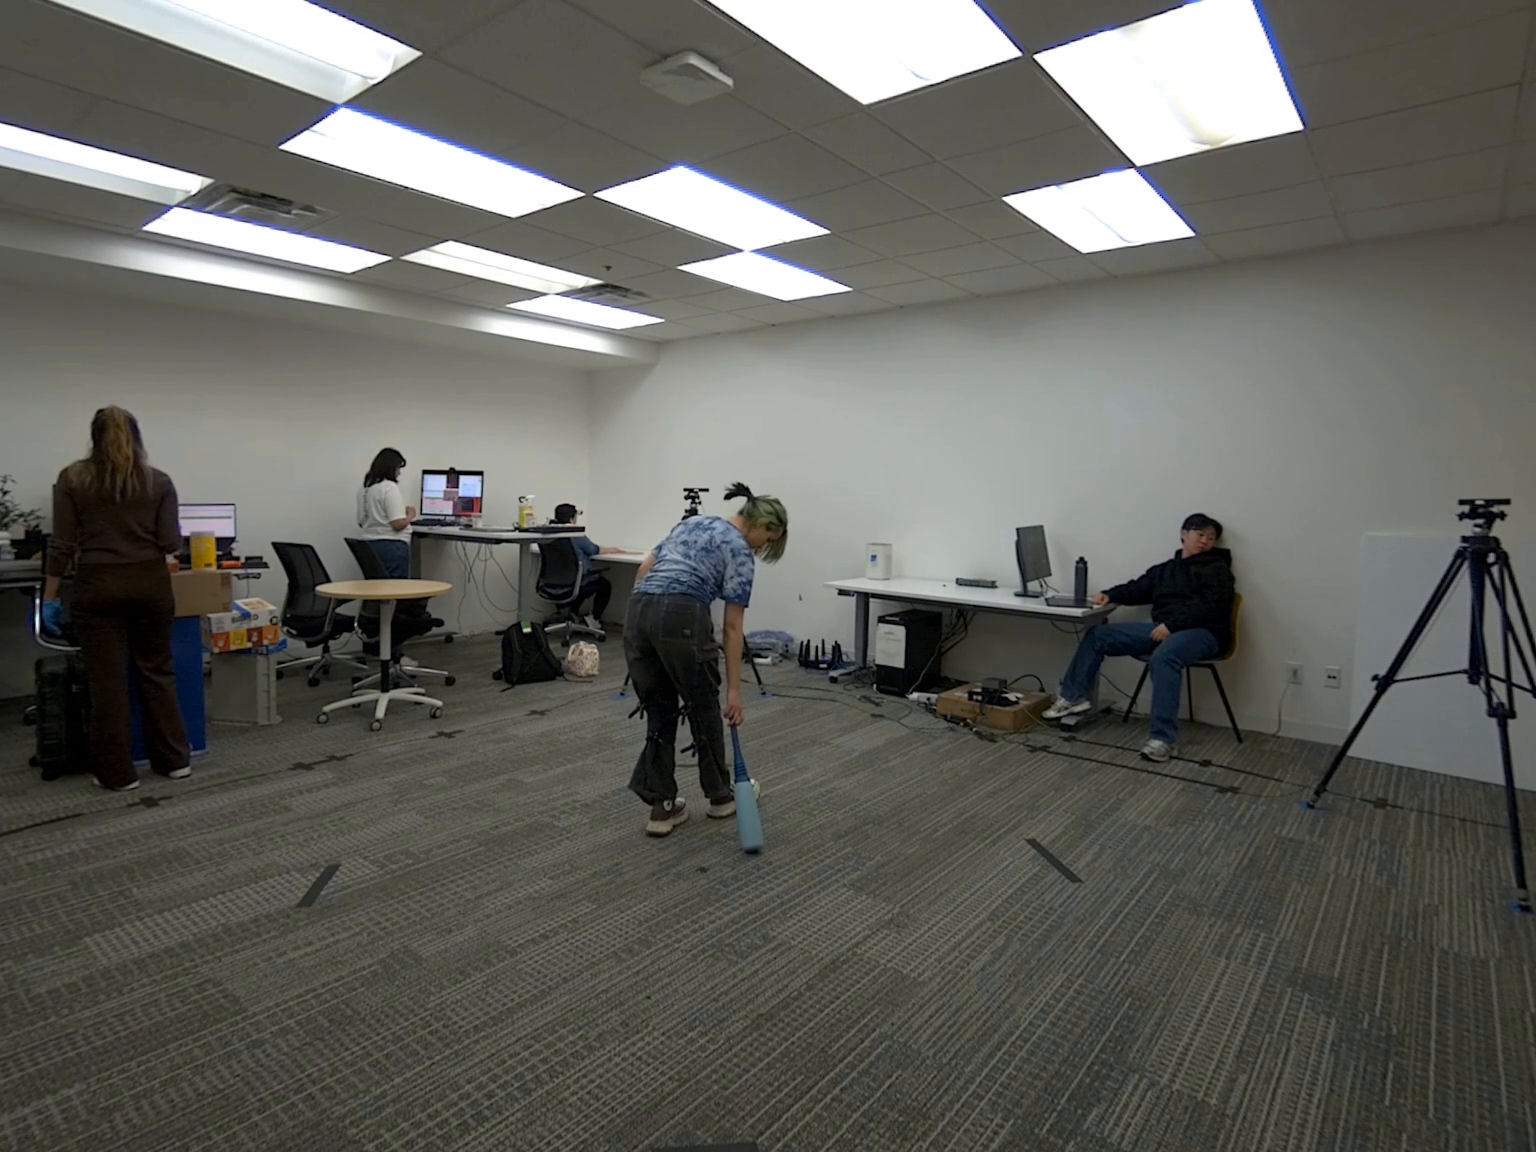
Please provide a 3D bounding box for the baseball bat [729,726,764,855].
[{"bbox_3d":[-0.109,0.799,3.370,0.089,0.557,0.087,-8,-25,-5],"label":"baseball bat"}]
